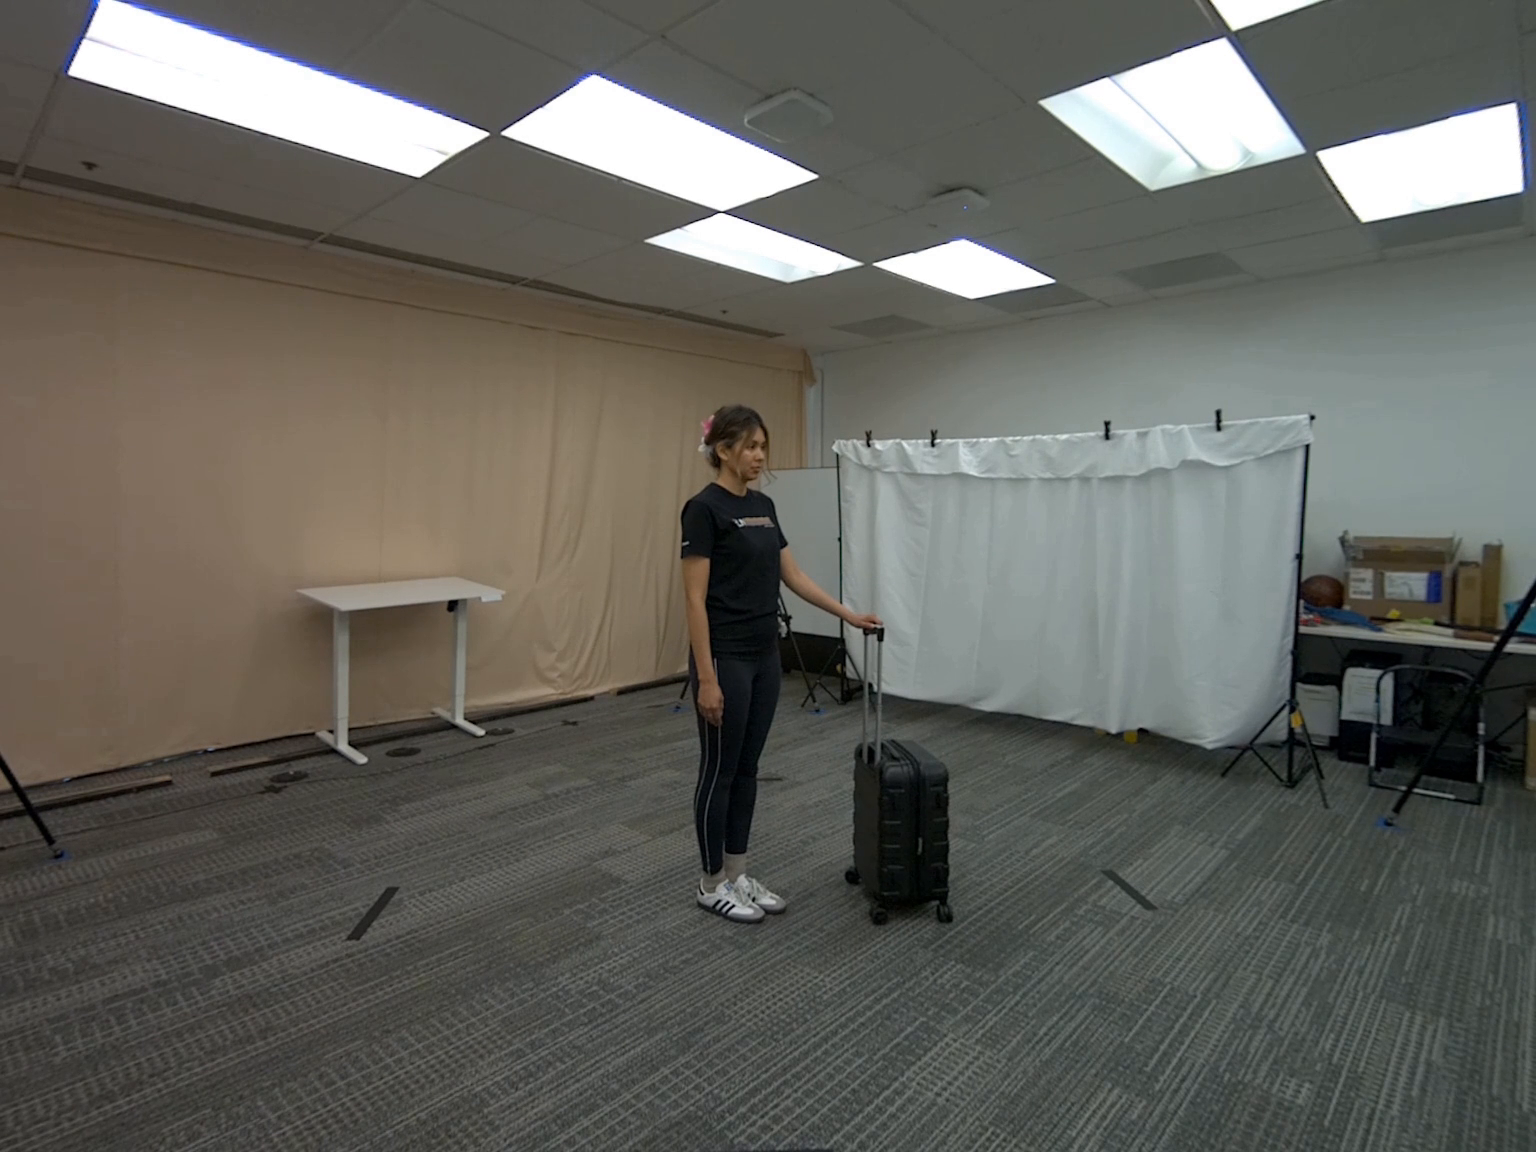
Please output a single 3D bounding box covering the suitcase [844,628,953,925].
[{"bbox_3d":[0.472,0.670,2.945,0.255,0.977,0.387,3,3,-8],"label":"suitcase"}]
